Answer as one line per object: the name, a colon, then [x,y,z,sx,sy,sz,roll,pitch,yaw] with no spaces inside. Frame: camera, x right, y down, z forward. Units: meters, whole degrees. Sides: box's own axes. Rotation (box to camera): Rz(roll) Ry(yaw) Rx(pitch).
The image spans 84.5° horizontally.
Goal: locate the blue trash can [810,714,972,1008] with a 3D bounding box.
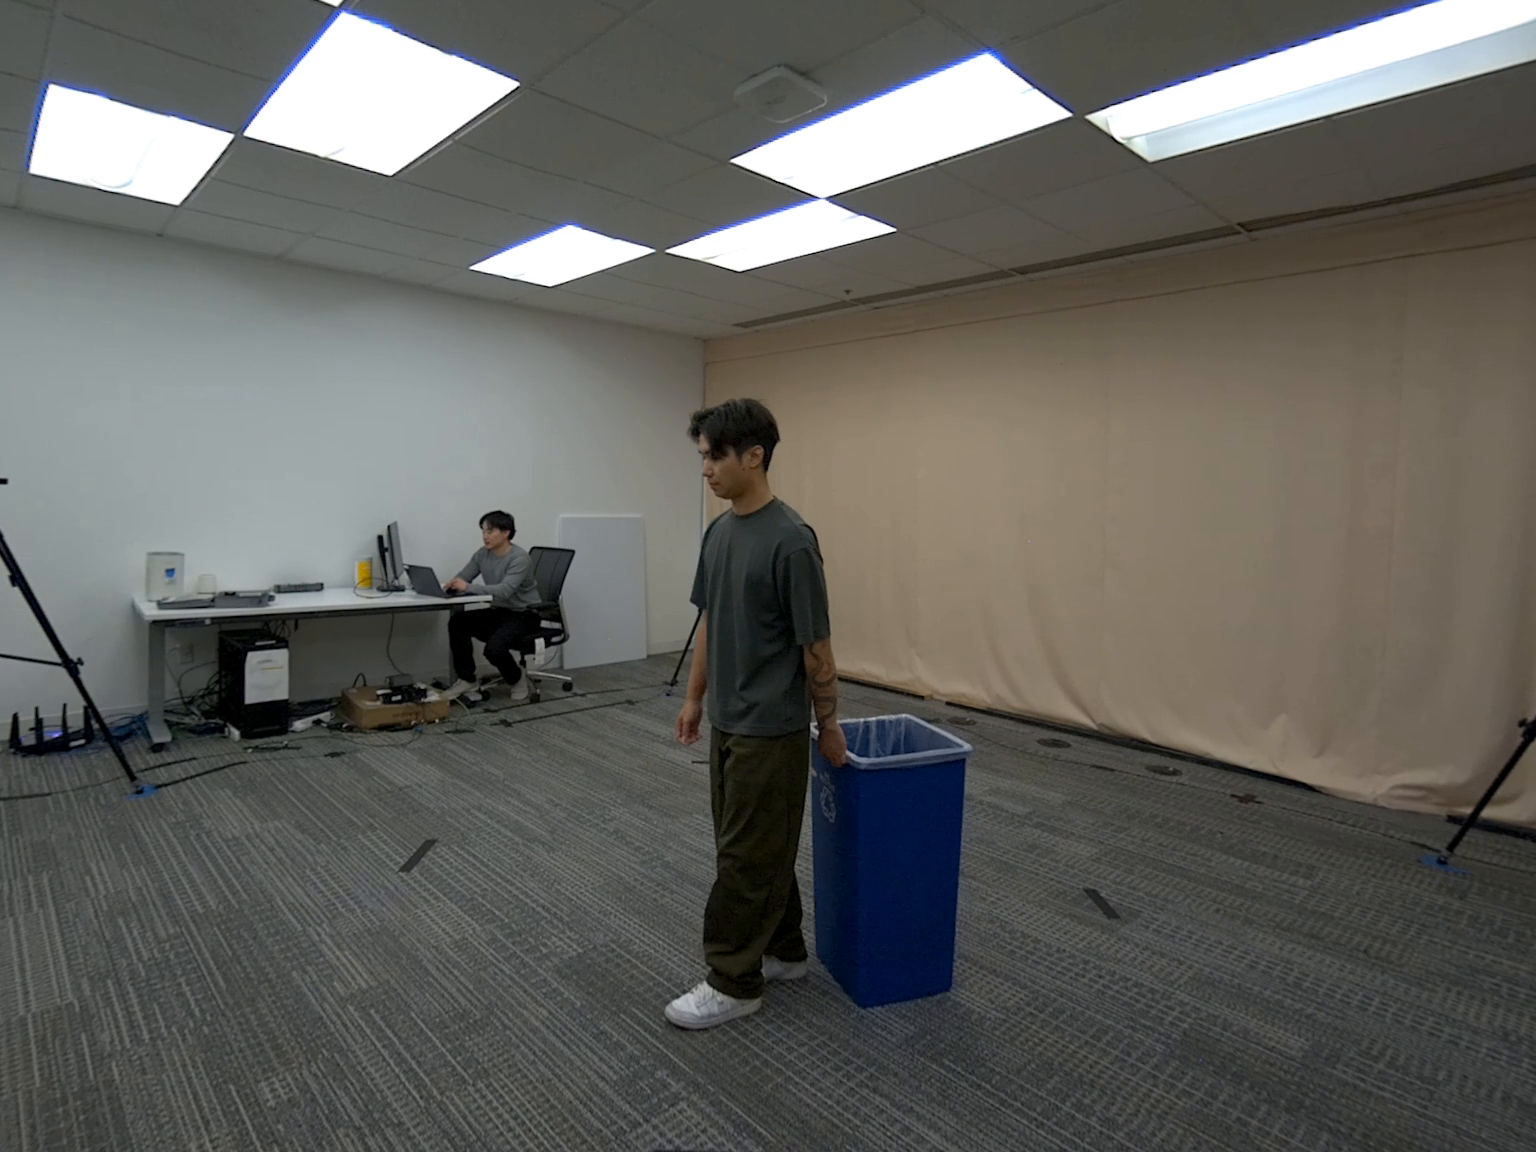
blue trash can: [0.343,0.818,2.465,0.372,0.711,0.381,-1,4,-20]
